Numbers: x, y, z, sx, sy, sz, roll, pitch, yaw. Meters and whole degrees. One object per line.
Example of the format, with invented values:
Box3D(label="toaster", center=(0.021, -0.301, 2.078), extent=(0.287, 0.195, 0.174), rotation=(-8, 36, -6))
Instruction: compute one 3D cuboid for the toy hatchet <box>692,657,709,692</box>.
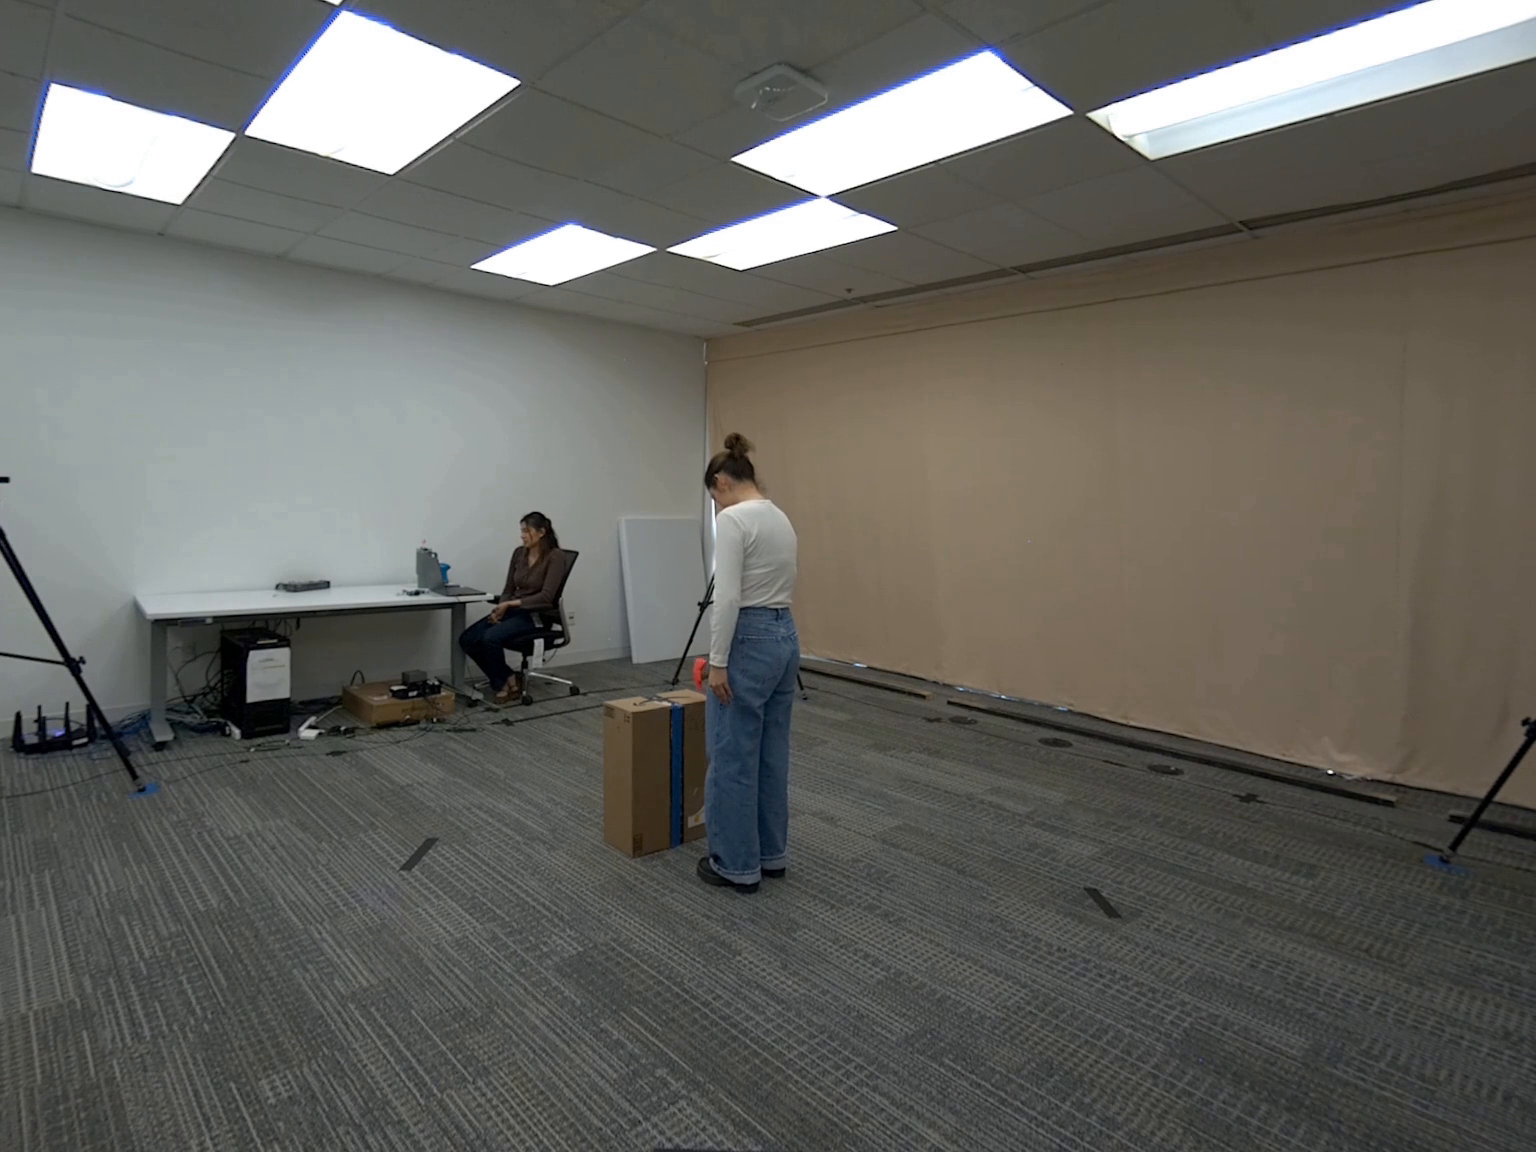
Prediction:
Box3D(label="toy hatchet", center=(-0.229, 0.362, 3.409), extent=(0.029, 0.134, 0.271), rotation=(8, -35, -47))
